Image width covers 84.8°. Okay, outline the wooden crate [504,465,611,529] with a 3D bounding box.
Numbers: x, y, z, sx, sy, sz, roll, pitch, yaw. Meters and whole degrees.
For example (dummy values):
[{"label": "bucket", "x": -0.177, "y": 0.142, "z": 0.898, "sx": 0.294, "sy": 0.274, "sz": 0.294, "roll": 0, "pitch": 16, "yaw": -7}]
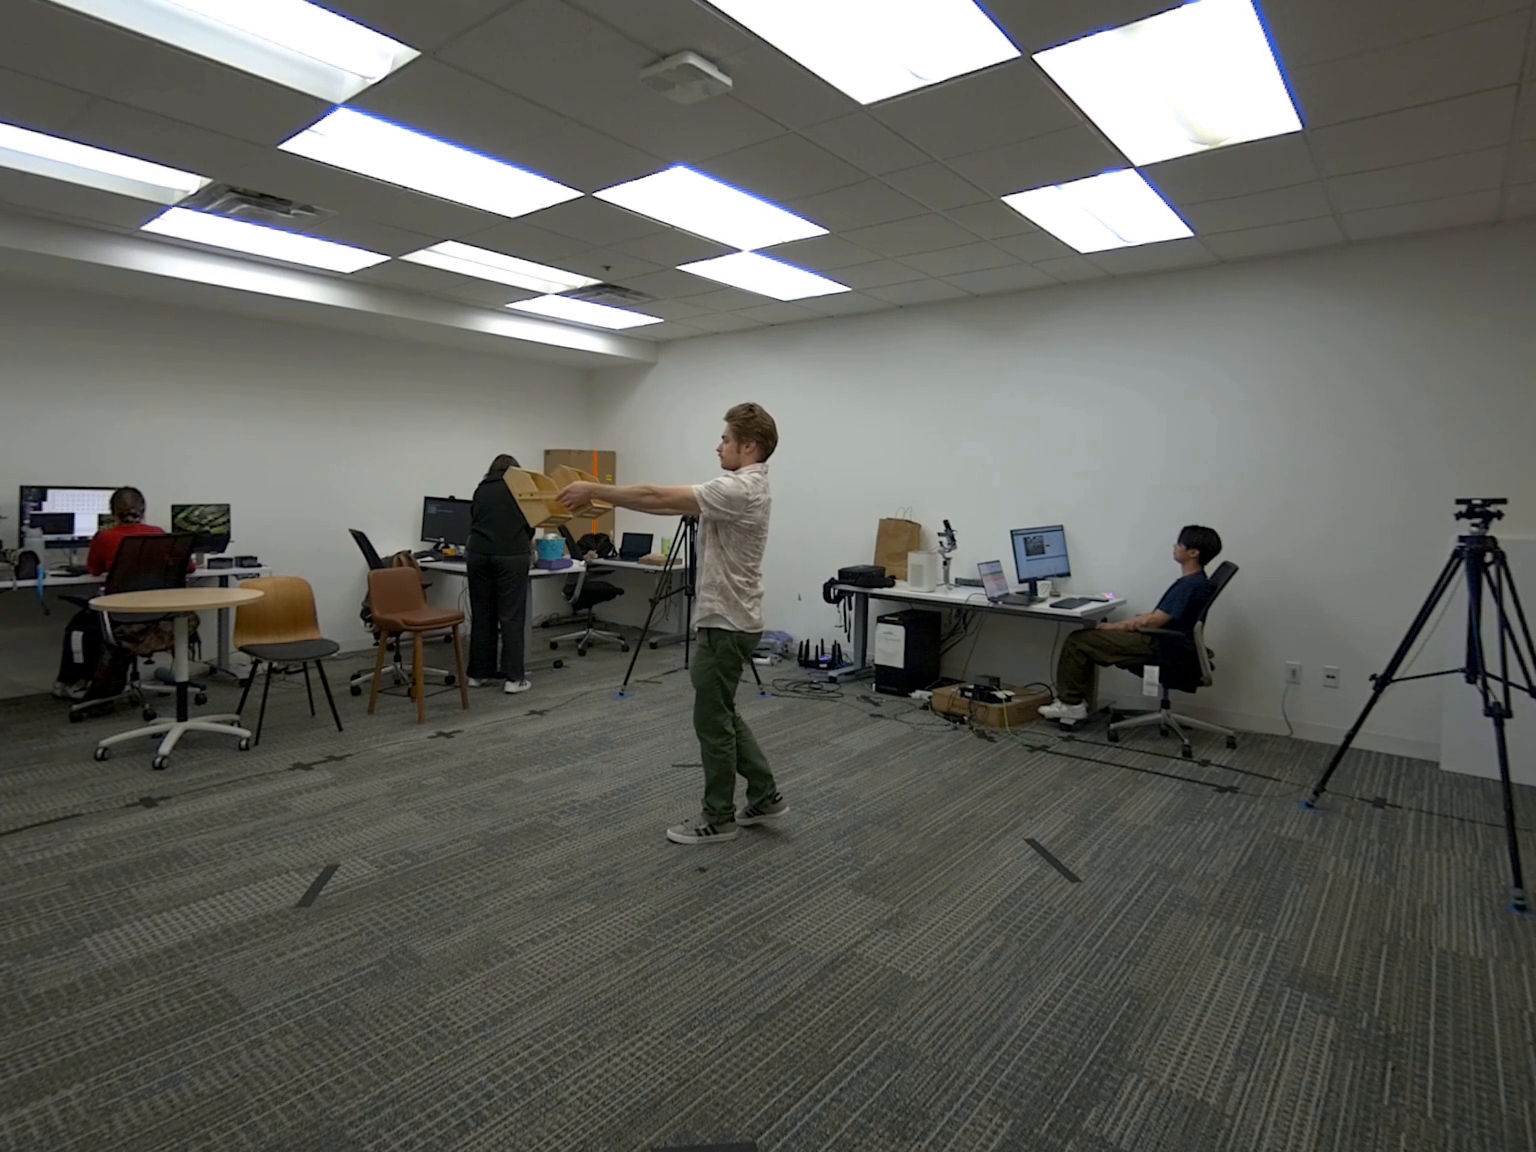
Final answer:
[{"label": "wooden crate", "x": -0.859, "y": -0.351, "z": 3.441, "sx": 0.274, "sy": 0.303, "sz": 0.323, "roll": -30, "pitch": -1, "yaw": 5}]
